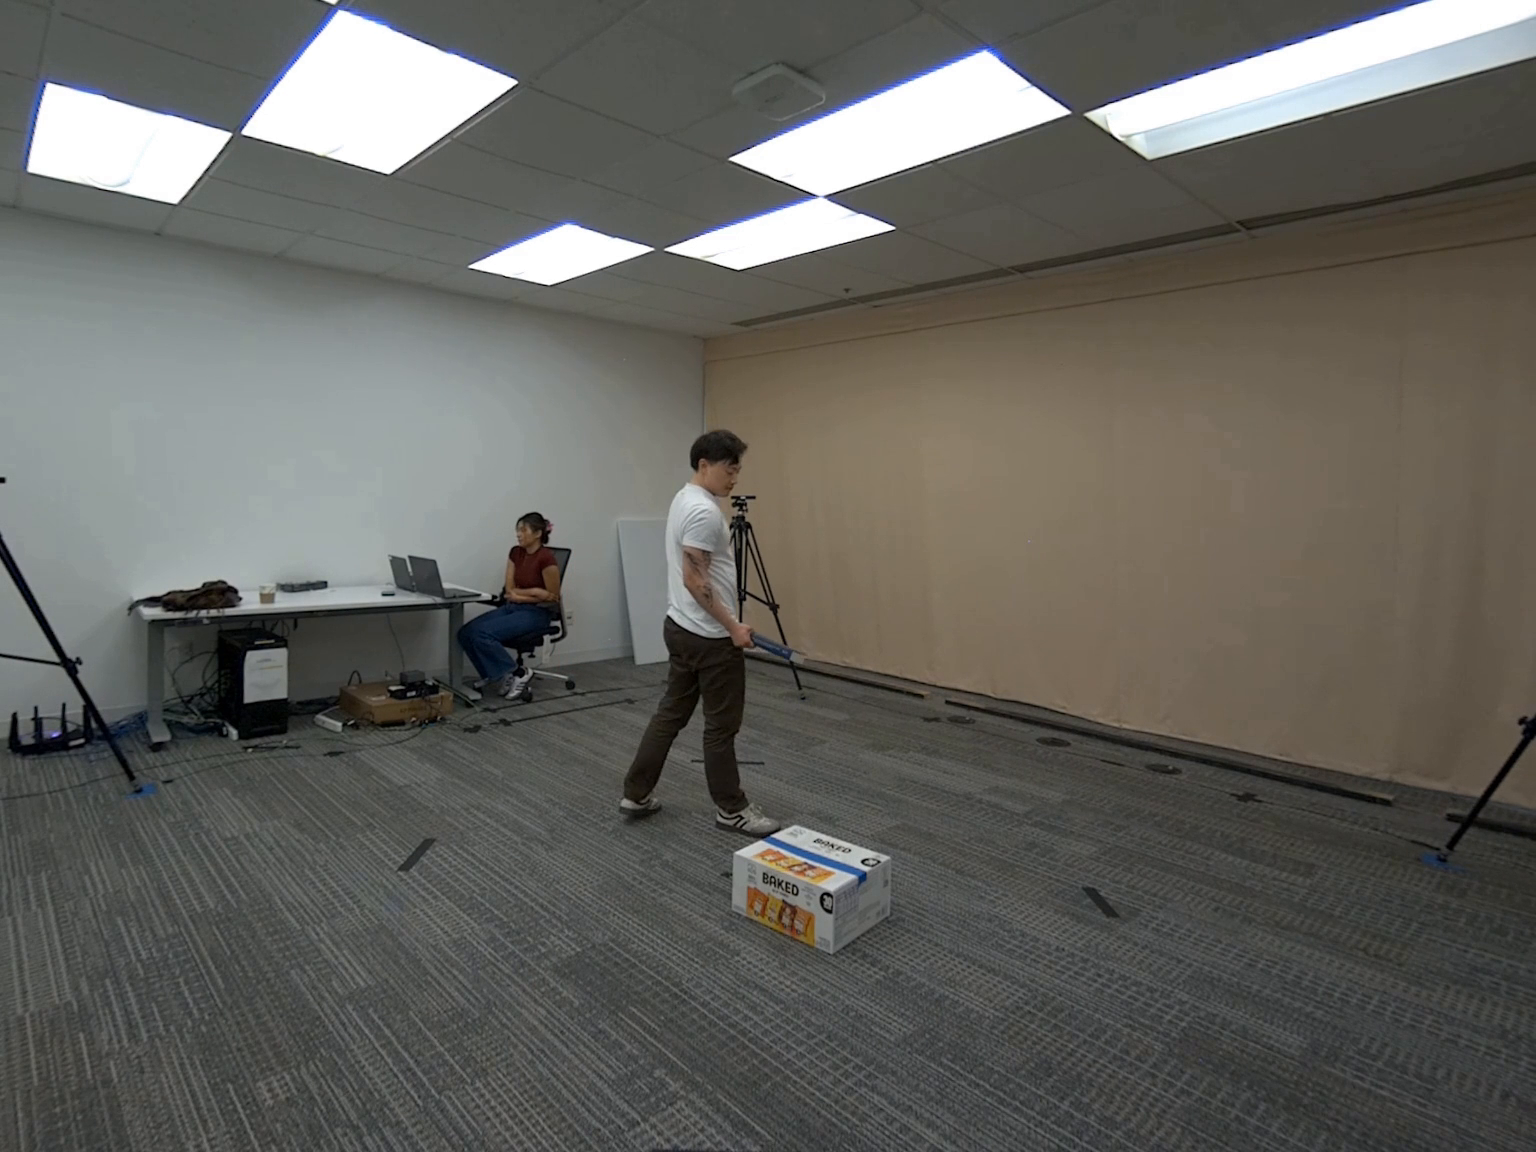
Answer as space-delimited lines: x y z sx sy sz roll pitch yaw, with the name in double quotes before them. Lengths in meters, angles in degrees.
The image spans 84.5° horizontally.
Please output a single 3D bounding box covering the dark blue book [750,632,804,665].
"dark blue book" 0.008 0.280 3.408 0.251 0.045 0.159 19 -3 25
